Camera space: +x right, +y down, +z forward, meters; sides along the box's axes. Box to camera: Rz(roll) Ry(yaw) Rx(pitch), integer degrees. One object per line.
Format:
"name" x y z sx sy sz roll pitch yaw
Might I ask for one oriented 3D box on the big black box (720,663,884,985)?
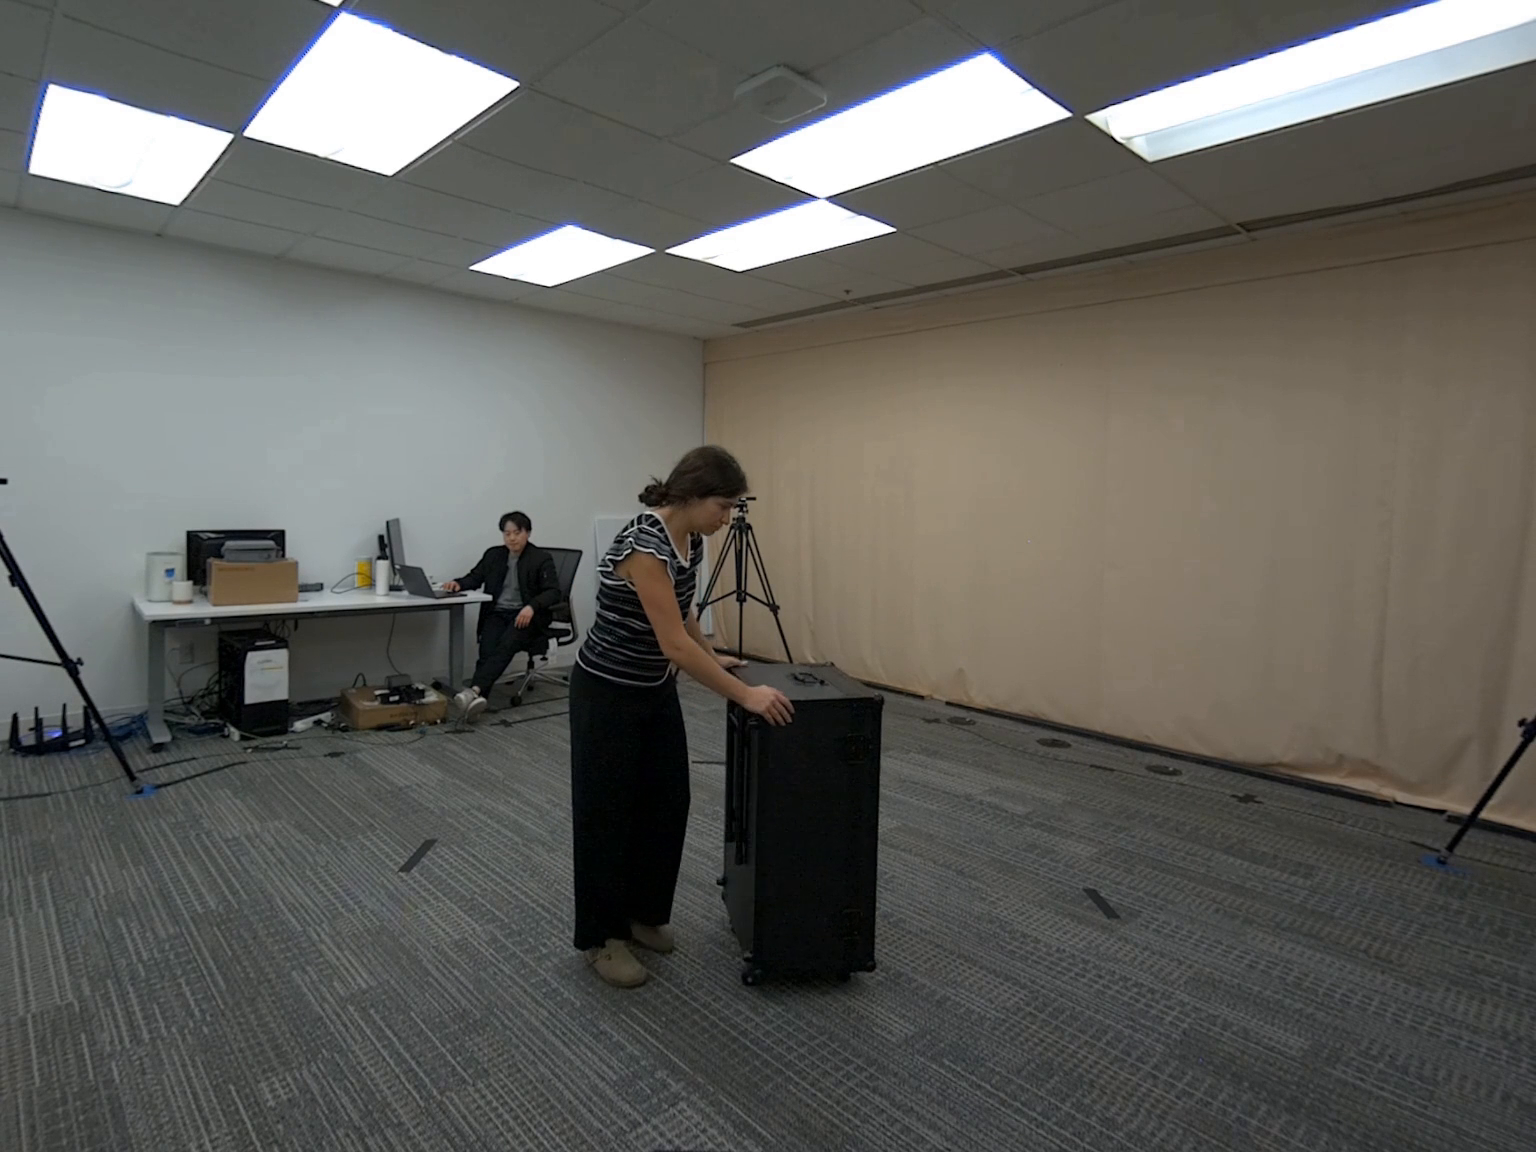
"big black box" 0.066 0.737 2.545 0.393 0.858 0.527 0 5 -11
